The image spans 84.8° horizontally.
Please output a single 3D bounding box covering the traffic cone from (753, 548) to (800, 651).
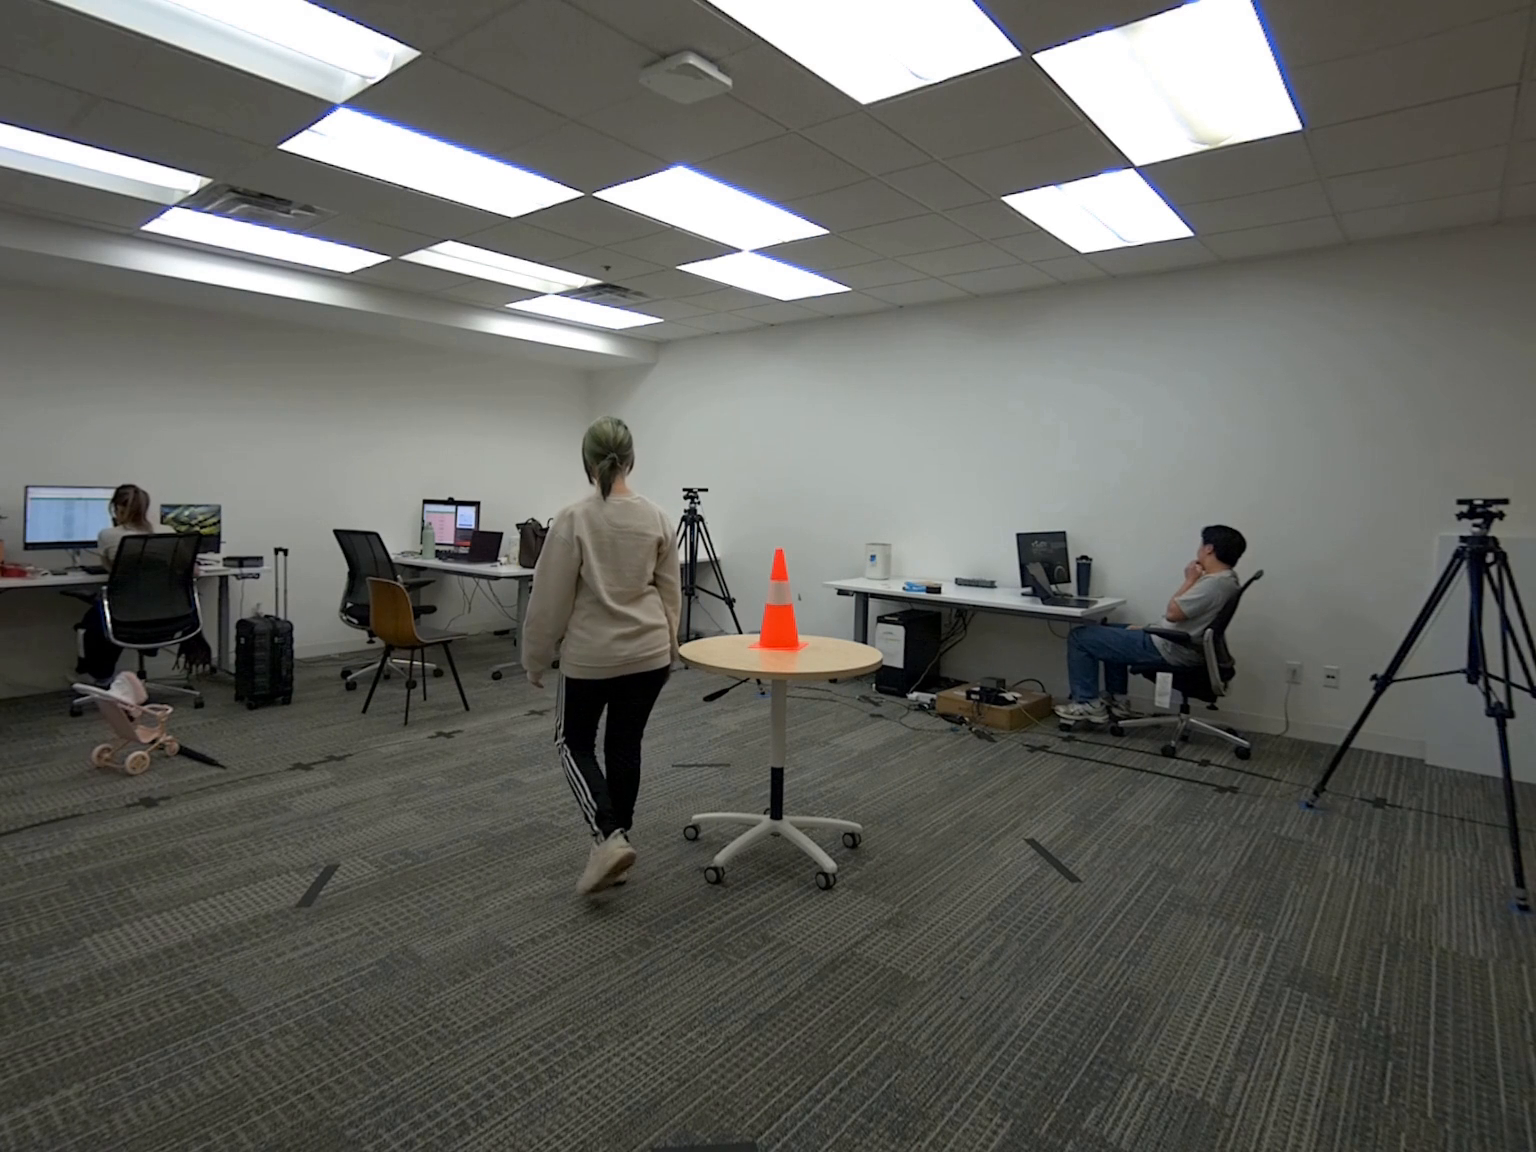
[{"bbox_3d":[0.035,0.082,3.321,0.209,0.382,0.200,1,5,18],"label":"traffic cone"}]
